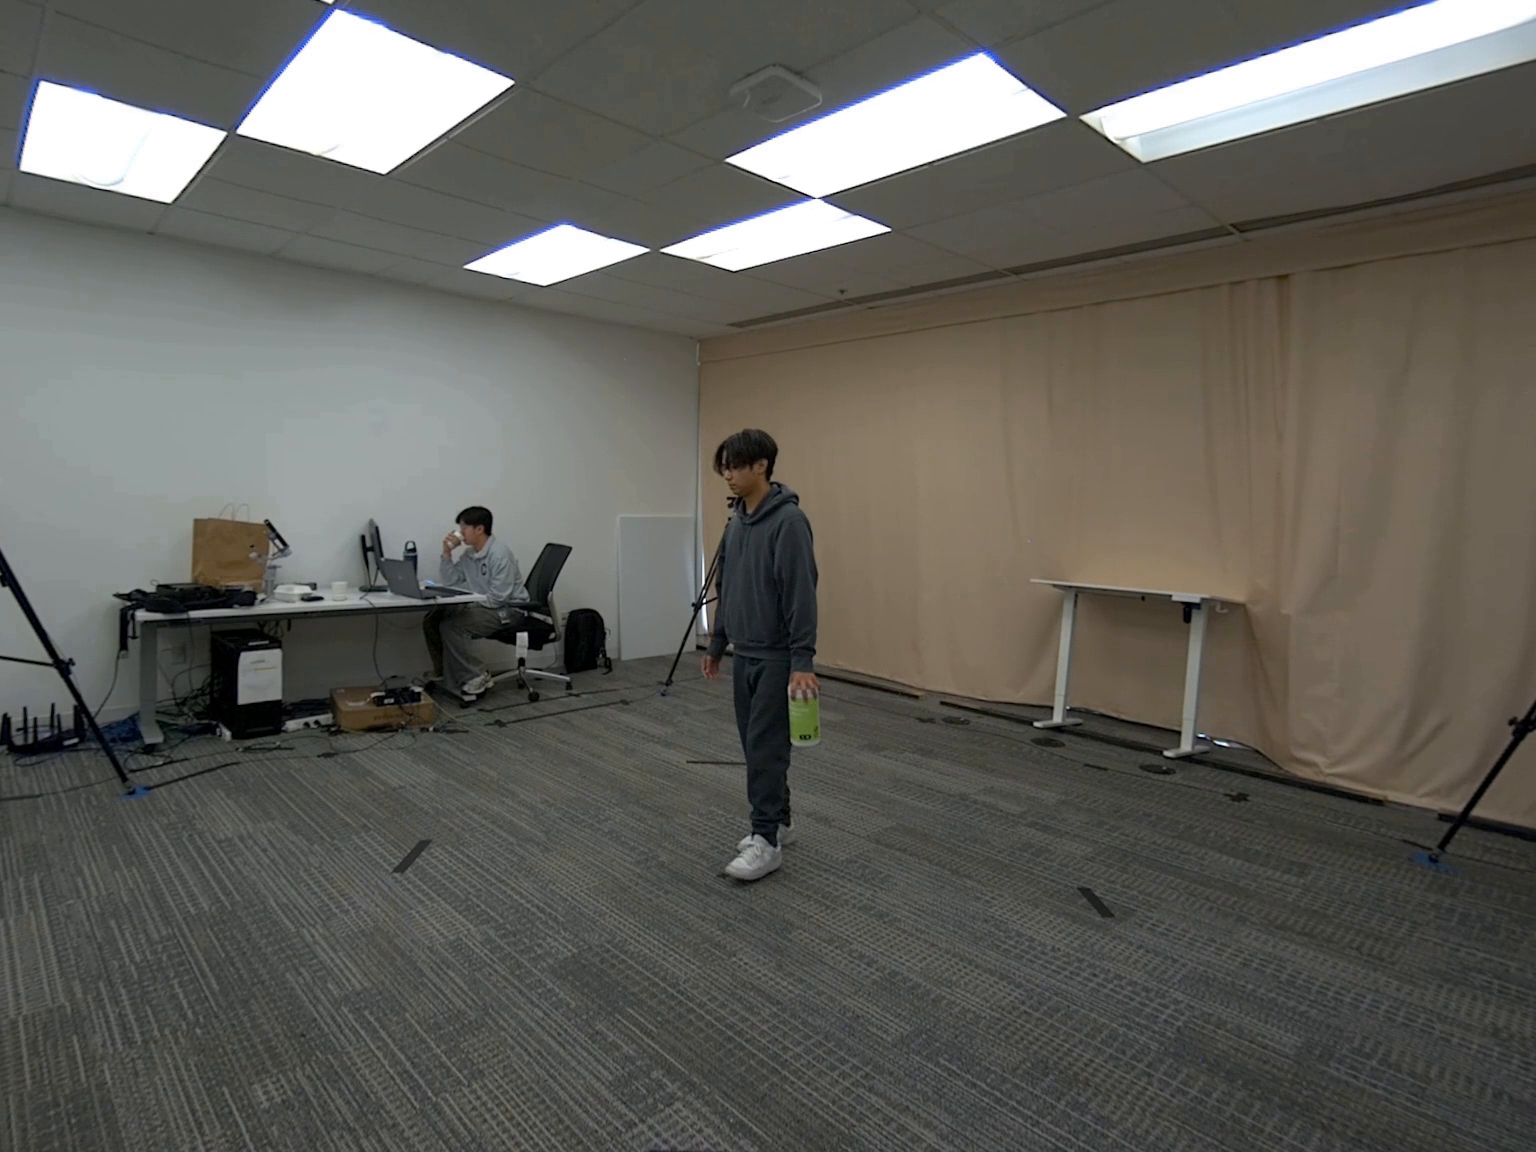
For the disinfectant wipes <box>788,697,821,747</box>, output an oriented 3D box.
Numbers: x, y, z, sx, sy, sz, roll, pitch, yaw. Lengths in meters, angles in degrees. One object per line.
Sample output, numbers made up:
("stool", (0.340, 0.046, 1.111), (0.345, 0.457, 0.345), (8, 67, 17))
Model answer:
("disinfectant wipes", (0.121, 0.503, 3.048), (0.118, 0.216, 0.118), (-6, 9, 0))
